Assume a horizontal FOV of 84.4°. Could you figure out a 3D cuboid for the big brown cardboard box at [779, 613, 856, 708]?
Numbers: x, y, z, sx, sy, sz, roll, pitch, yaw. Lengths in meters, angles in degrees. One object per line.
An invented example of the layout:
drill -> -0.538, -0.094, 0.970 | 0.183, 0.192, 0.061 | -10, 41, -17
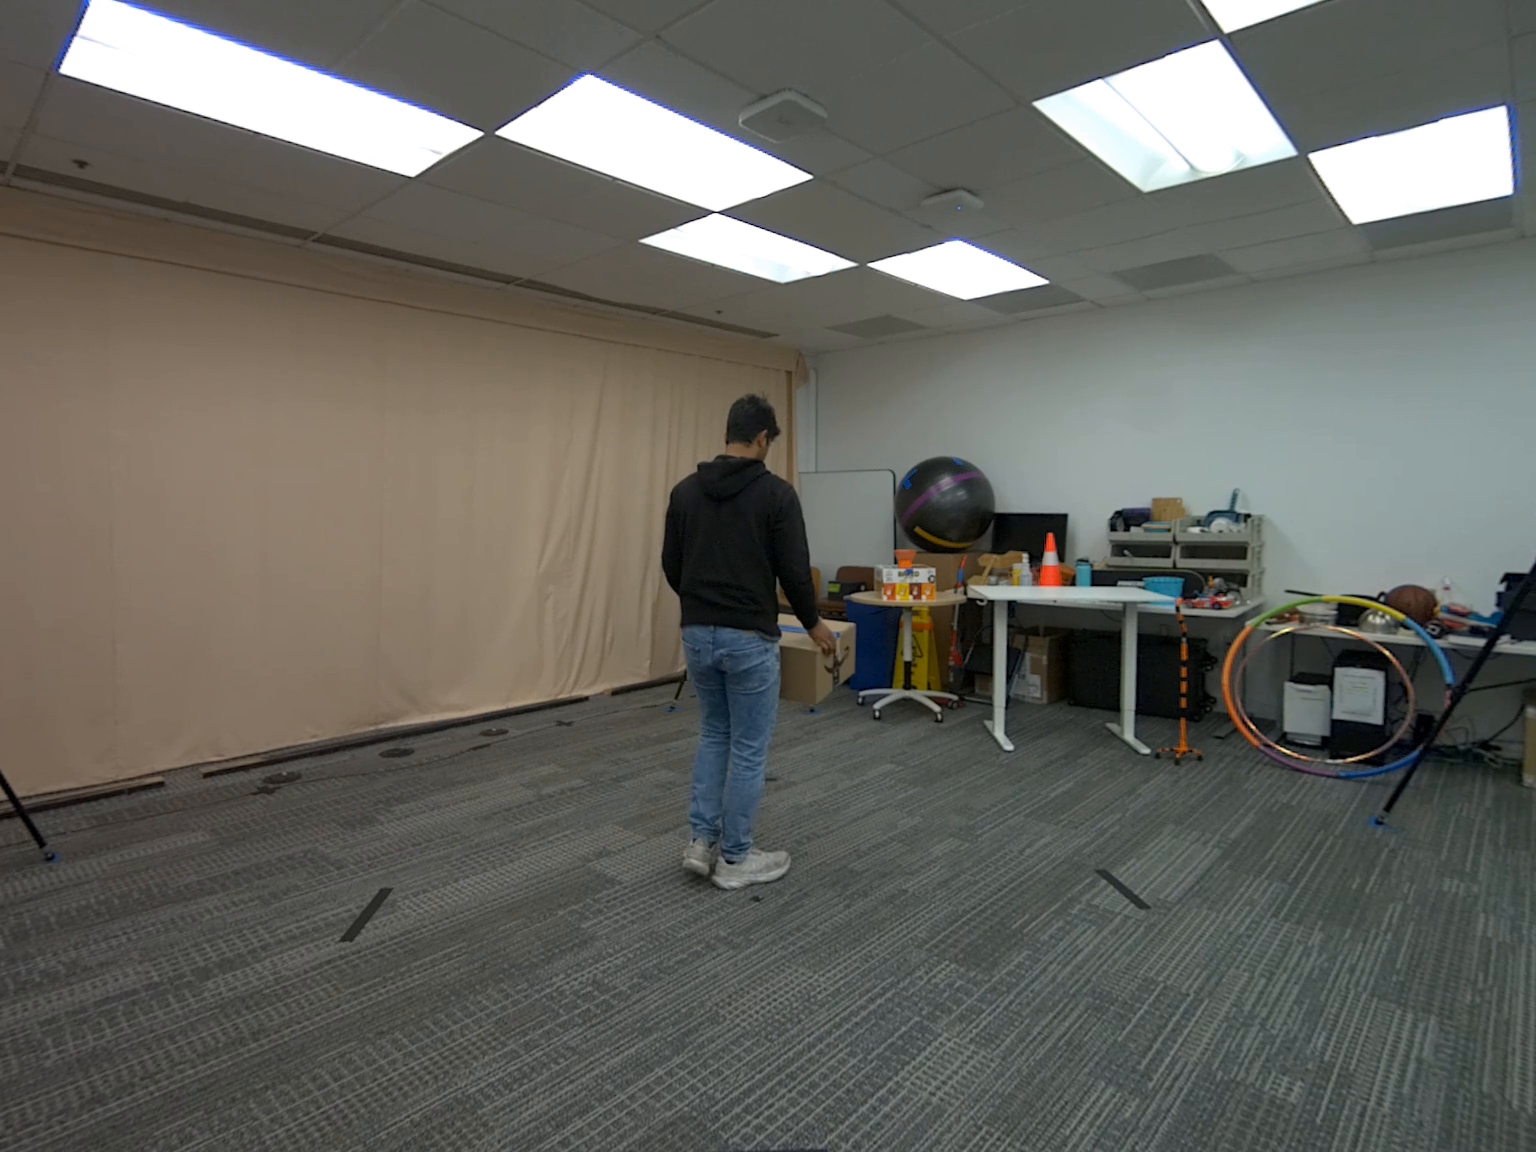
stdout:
big brown cardboard box -> 0.017, 0.309, 3.443 | 0.605, 0.231, 0.409 | 7, 14, 26
